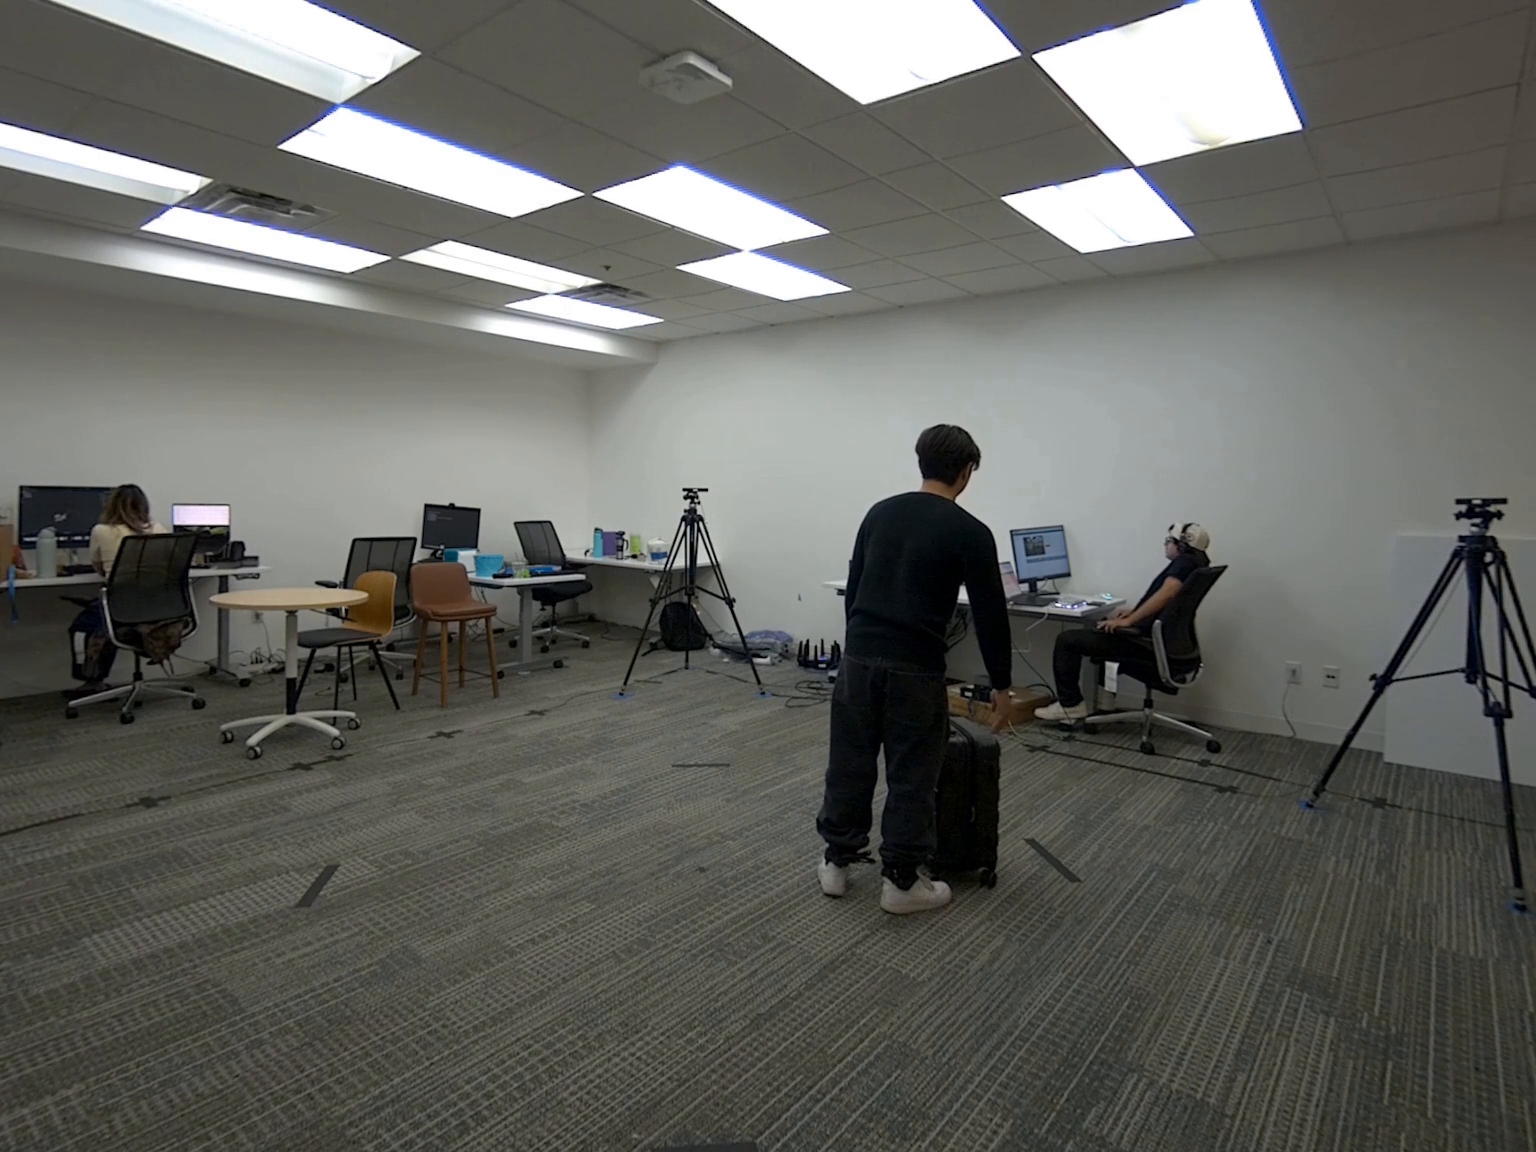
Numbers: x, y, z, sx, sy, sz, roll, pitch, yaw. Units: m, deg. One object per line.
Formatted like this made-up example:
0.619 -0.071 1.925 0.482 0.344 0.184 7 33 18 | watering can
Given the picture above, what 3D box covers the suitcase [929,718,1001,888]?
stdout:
0.674 0.808 3.172 0.246 0.548 0.380 2 3 -10 | suitcase
